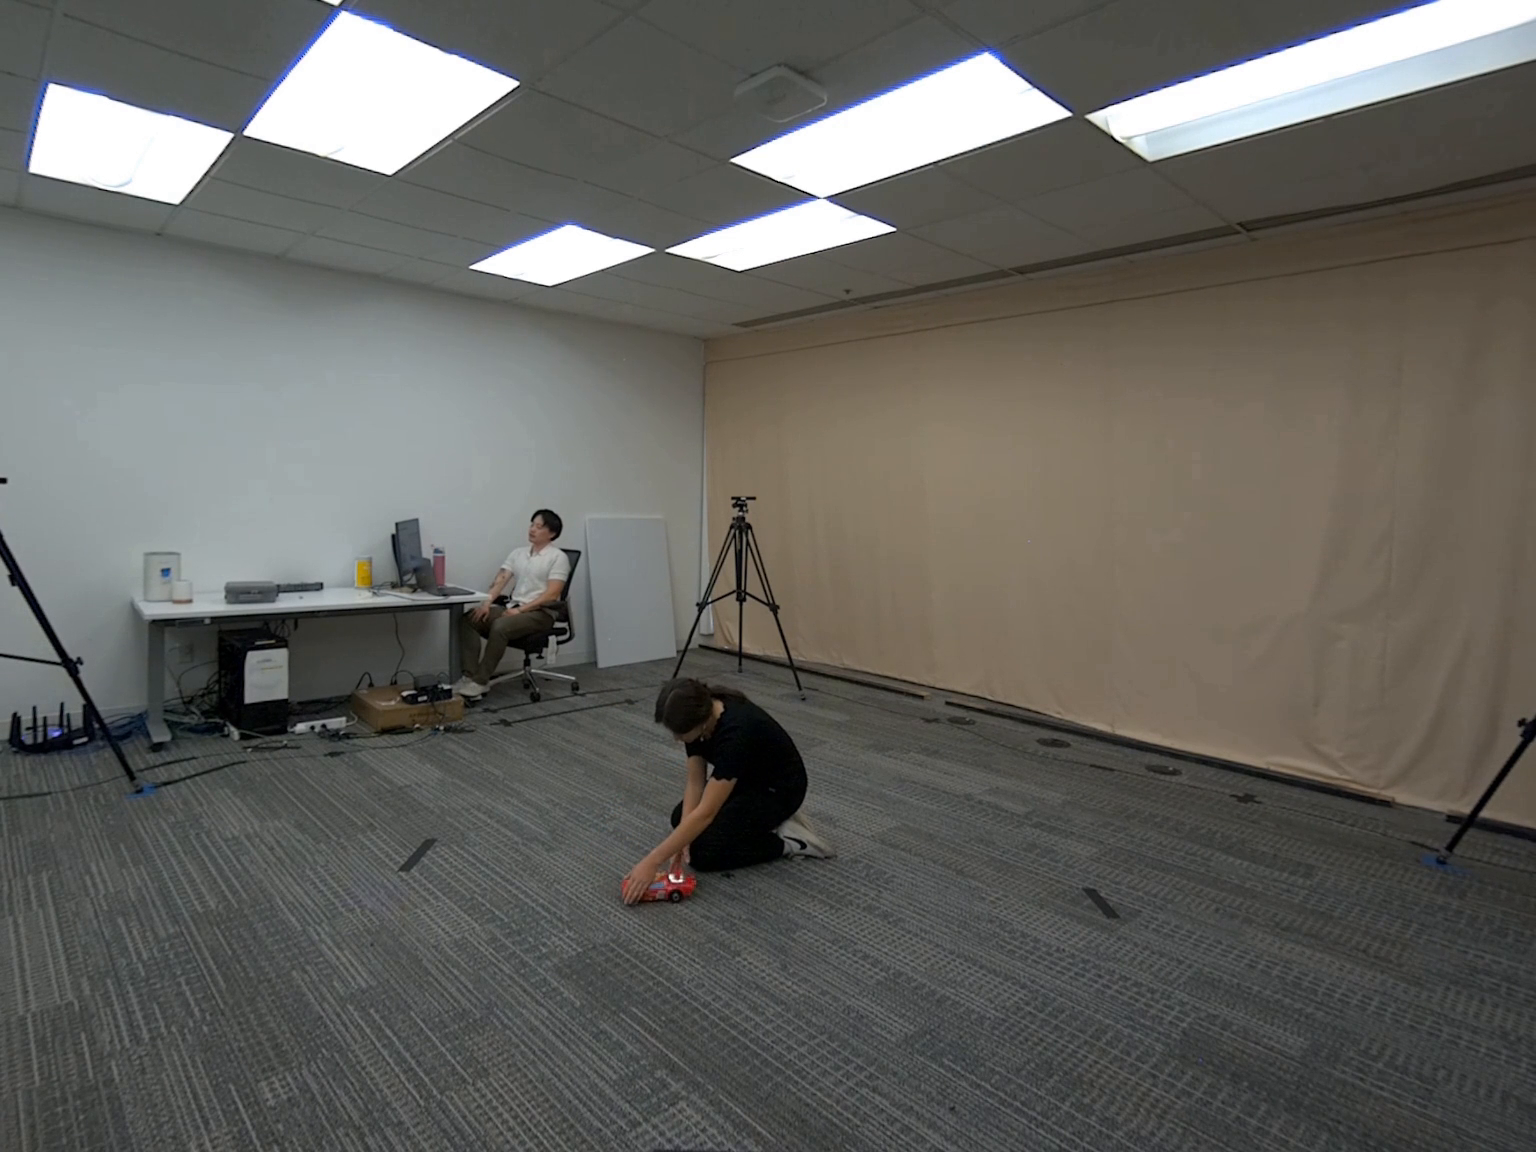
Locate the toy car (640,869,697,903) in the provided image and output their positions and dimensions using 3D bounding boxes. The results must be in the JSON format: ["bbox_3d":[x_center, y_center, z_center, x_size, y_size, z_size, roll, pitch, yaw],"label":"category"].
[{"bbox_3d":[-0.386,1.087,2.926,0.253,0.083,0.131,-11,6,-8],"label":"toy car"}]
